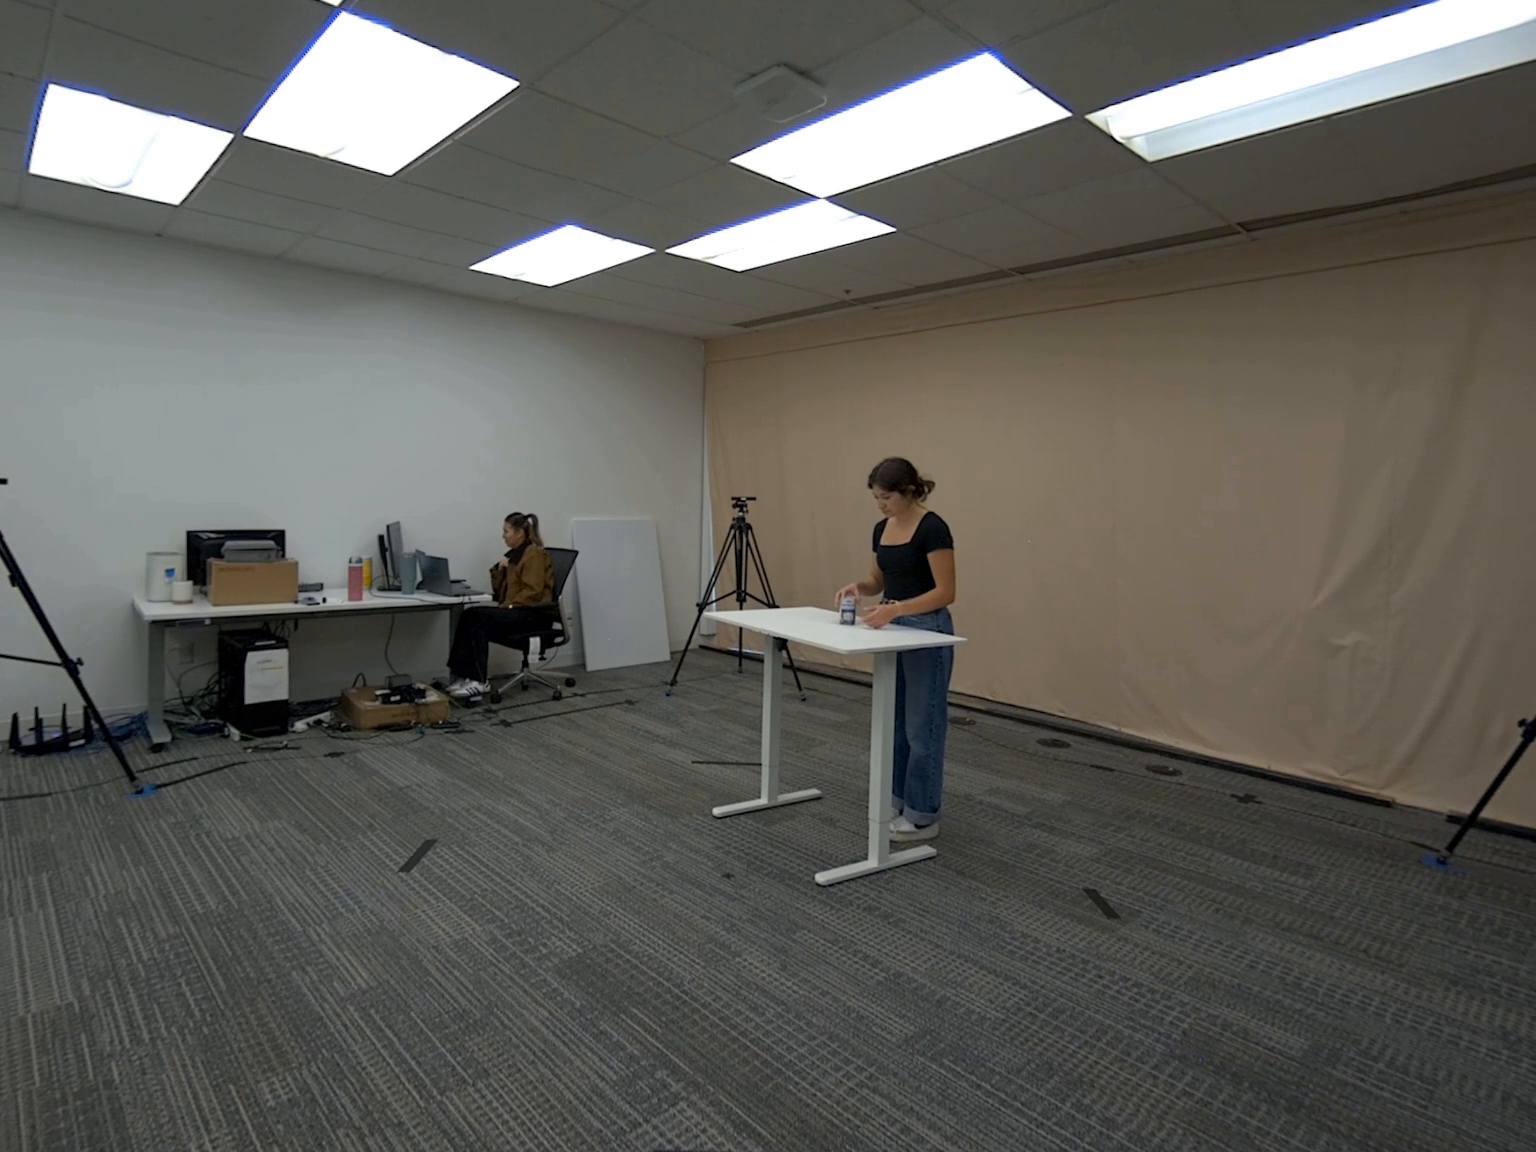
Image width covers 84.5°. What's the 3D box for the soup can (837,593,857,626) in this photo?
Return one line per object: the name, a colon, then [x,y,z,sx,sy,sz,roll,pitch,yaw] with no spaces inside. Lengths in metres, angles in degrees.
soup can: [0.328,0.144,3.507,0.067,0.121,0.067,1,0,-1]
